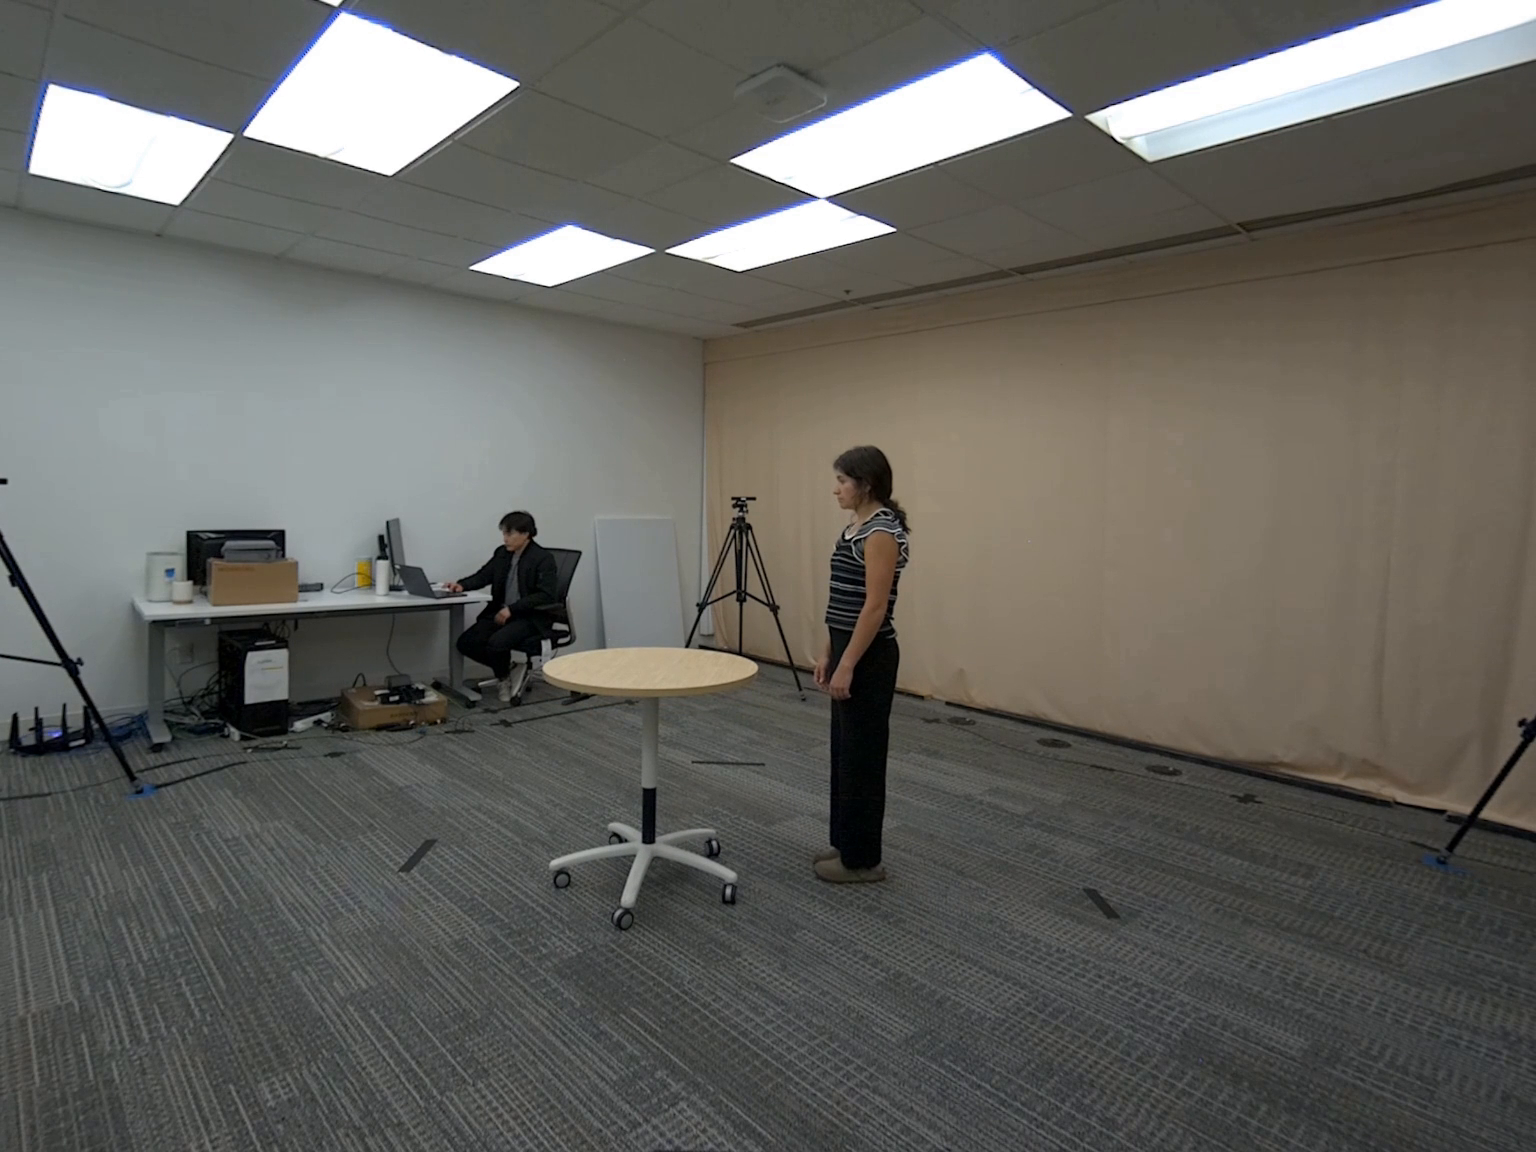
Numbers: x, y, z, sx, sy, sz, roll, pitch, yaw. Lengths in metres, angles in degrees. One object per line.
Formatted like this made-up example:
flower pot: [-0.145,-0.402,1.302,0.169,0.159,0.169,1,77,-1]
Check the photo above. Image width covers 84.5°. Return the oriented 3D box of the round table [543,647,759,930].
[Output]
round table: [-0.416,0.711,3.023,0.784,0.784,0.788,1,4,-1]
